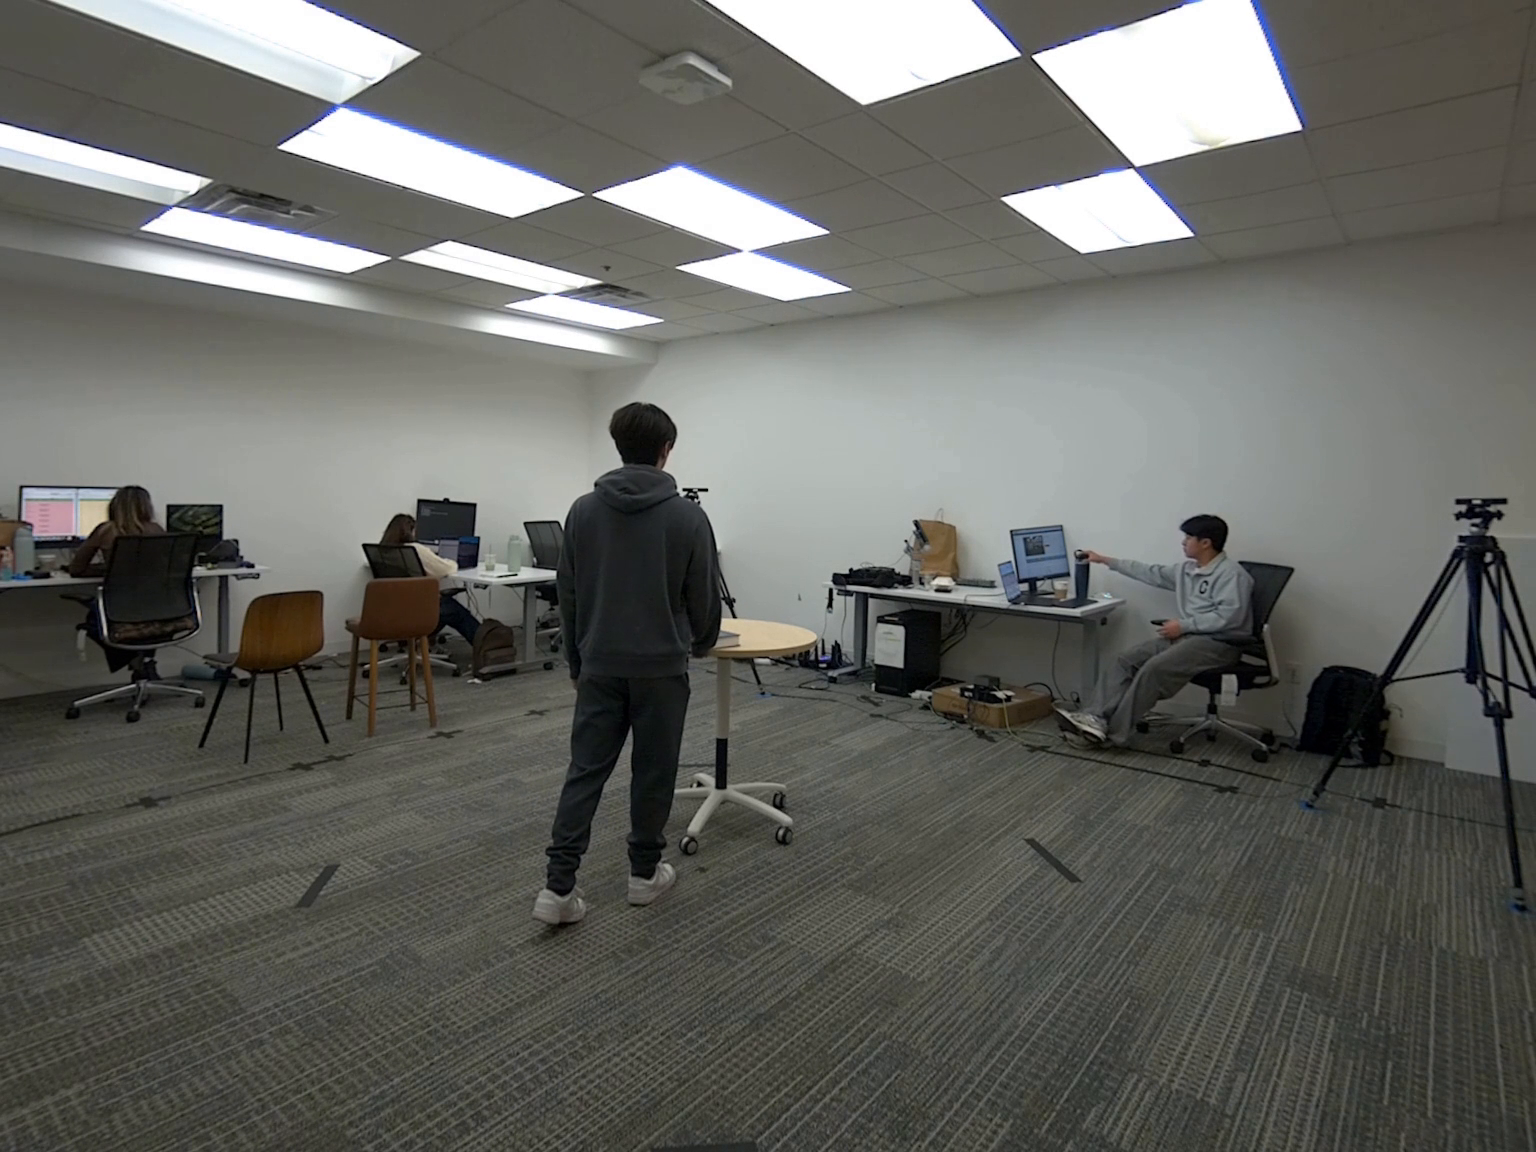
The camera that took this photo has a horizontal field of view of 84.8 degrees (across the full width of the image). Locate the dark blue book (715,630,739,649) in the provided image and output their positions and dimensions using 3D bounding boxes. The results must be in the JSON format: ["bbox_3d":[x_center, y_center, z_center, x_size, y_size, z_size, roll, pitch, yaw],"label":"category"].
[{"bbox_3d":[-0.252,0.241,3.227,0.238,0.045,0.169,-3,7,-40],"label":"dark blue book"}]
